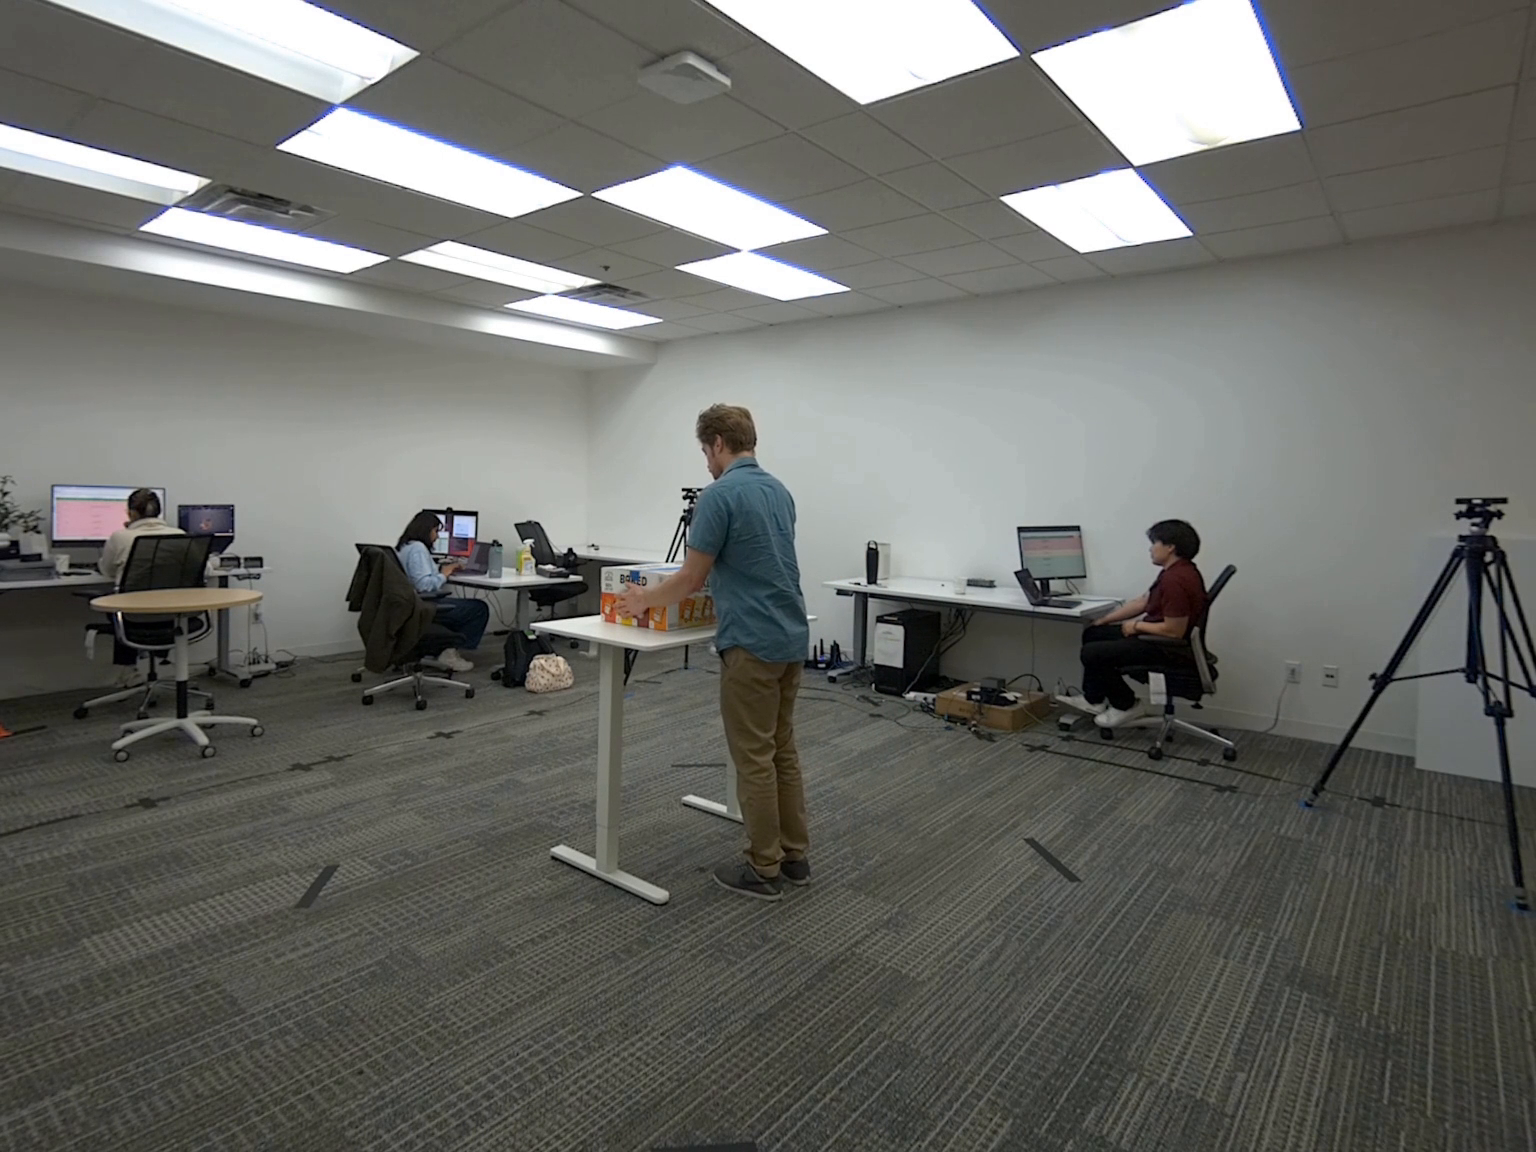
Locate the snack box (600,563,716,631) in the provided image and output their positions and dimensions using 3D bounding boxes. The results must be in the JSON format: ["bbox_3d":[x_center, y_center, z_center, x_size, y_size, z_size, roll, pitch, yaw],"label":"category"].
[{"bbox_3d":[-0.393,0.067,3.258,0.352,0.205,0.393,6,6,36],"label":"snack box"}]
